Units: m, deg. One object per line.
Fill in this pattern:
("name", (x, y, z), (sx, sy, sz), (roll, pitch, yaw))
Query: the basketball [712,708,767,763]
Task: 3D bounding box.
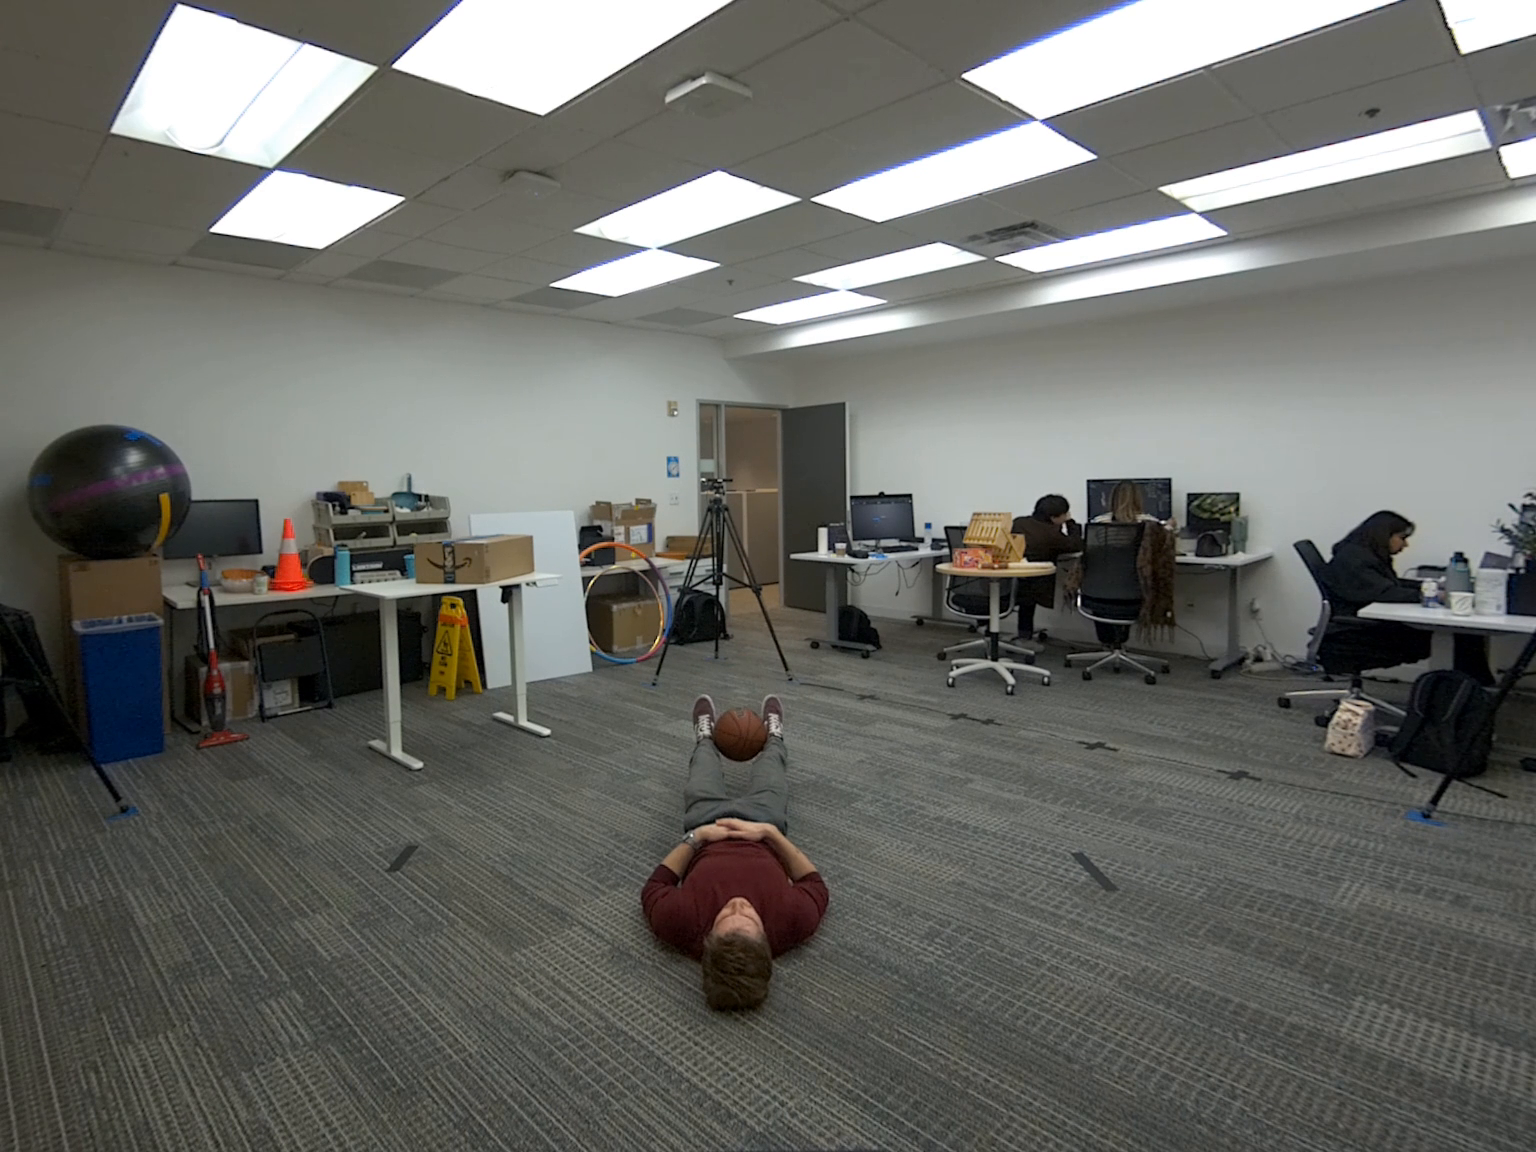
("basketball", (-0.123, 0.713, 3.852), (0.236, 0.236, 0.236), (0, 1, -2))
